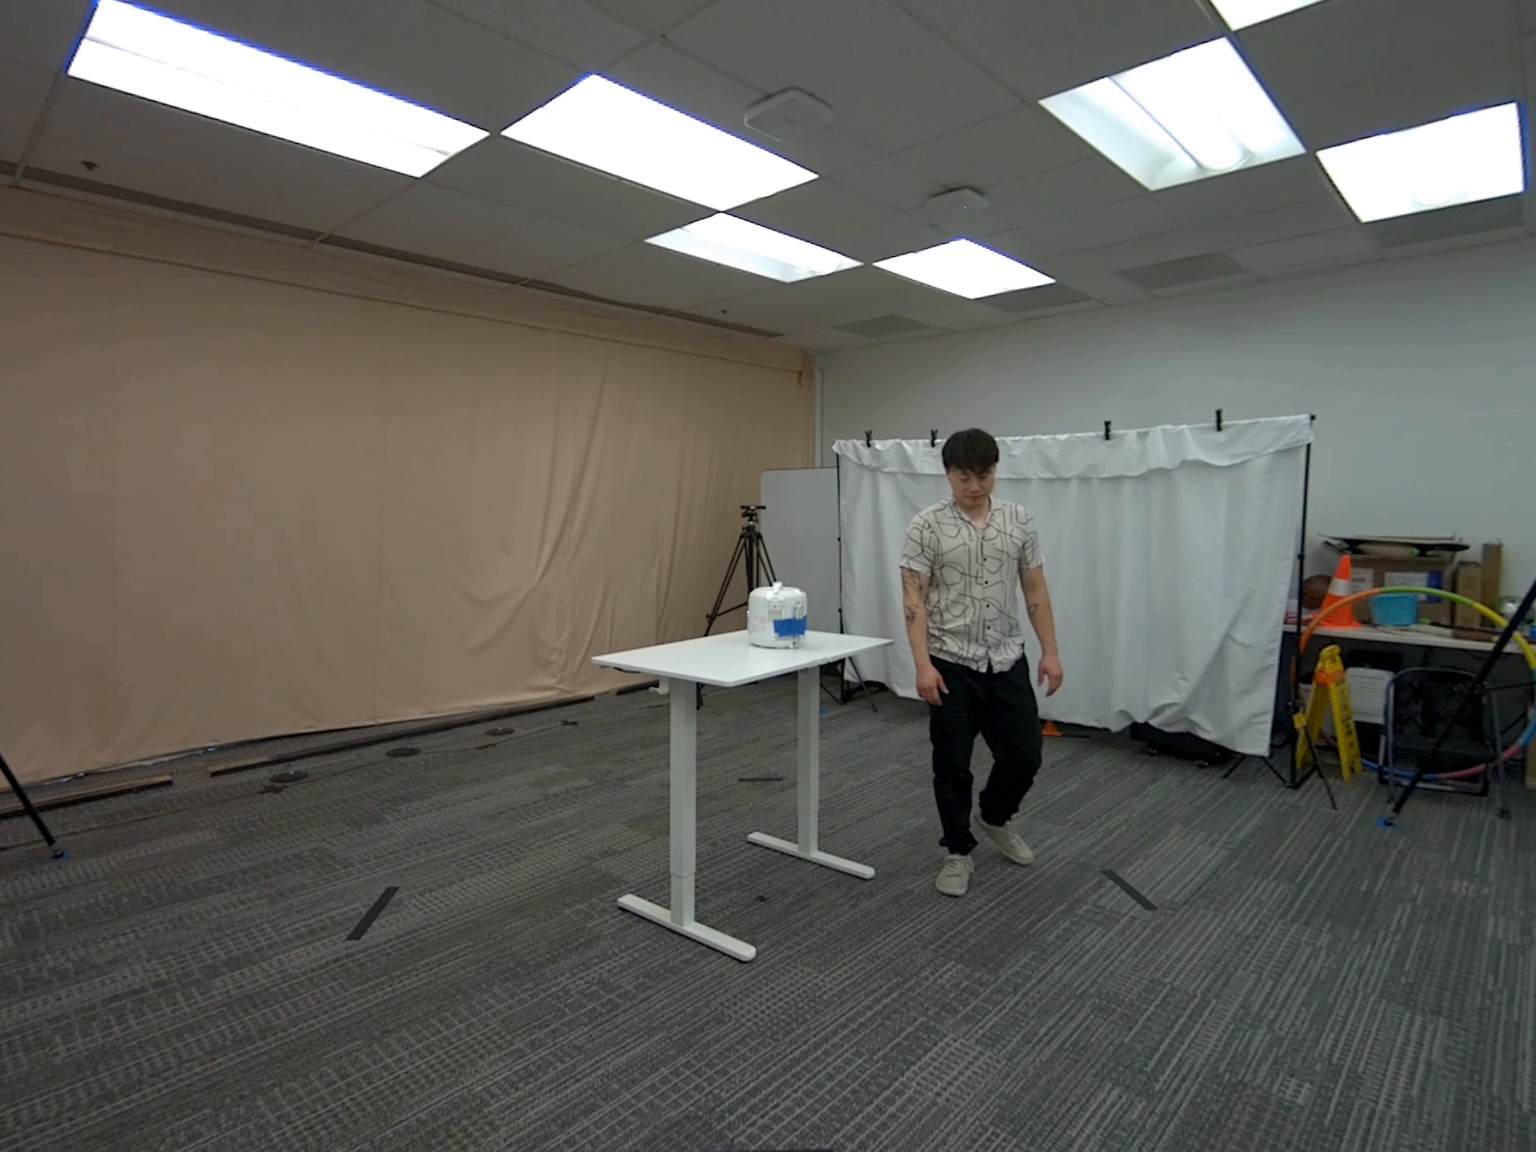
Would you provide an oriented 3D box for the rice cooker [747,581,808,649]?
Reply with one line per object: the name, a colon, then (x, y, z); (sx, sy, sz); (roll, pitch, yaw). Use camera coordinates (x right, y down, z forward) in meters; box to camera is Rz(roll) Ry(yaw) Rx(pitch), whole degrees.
rice cooker: (0.039, 0.139, 3.080); (0.220, 0.232, 0.219); (2, 3, 8)
